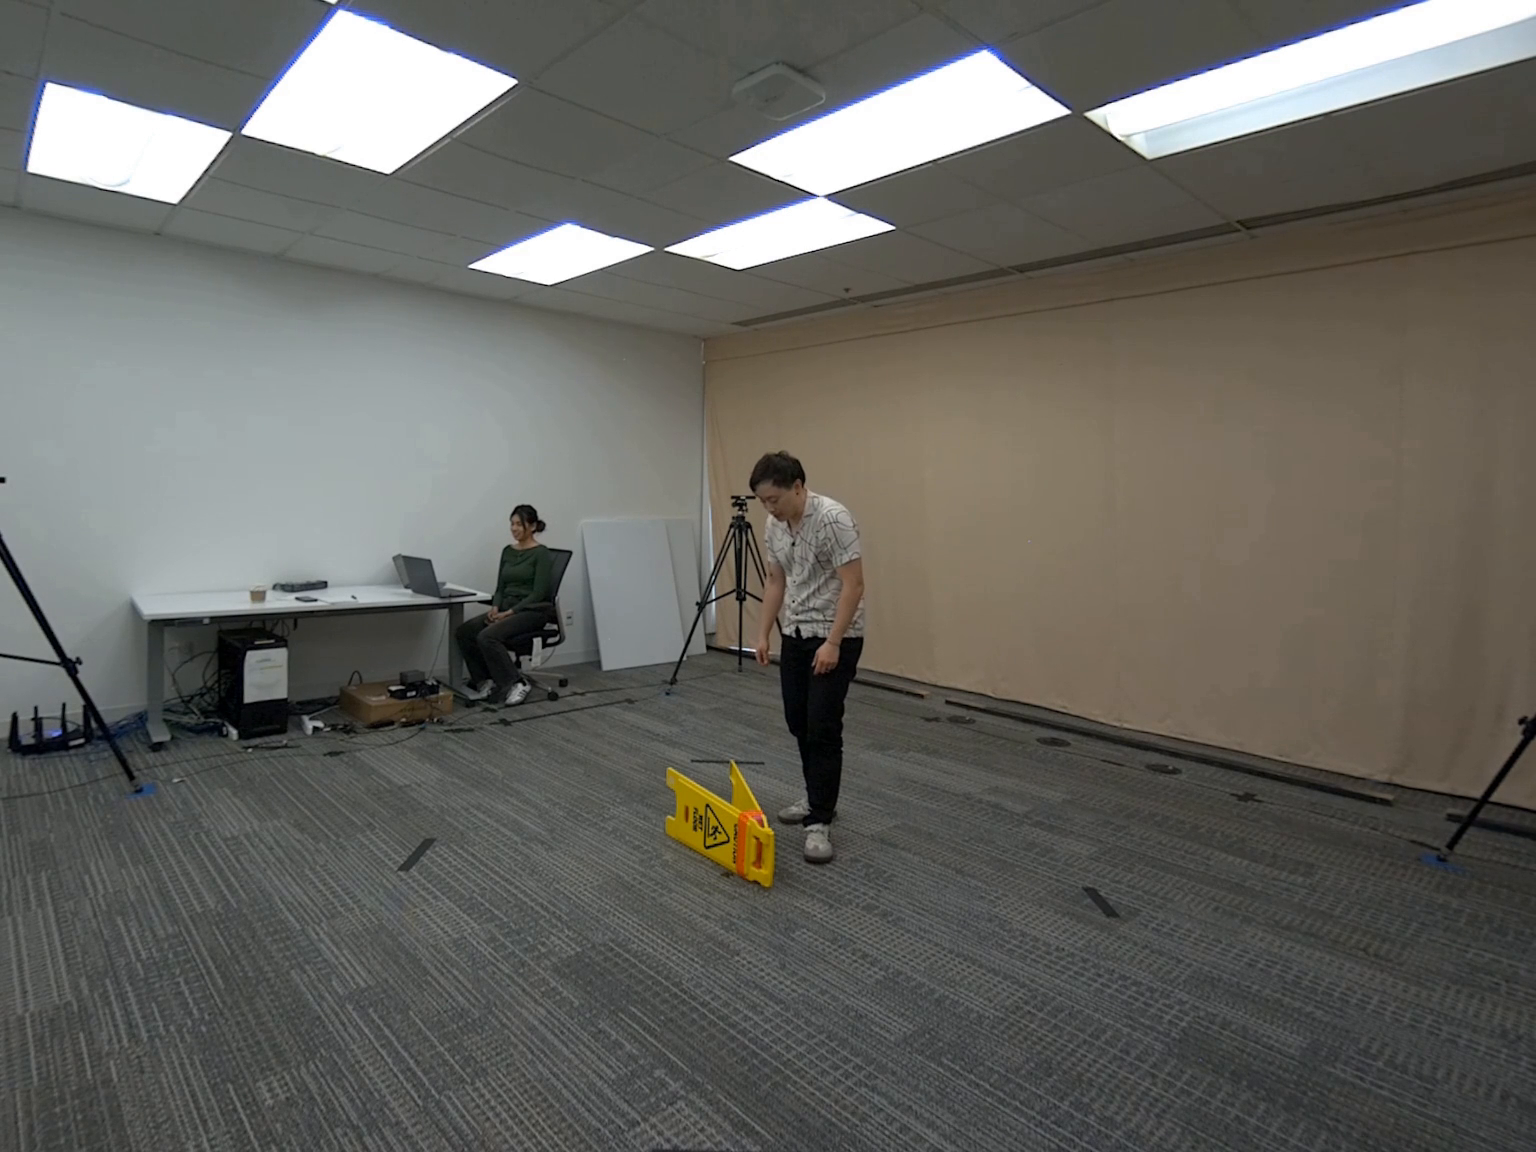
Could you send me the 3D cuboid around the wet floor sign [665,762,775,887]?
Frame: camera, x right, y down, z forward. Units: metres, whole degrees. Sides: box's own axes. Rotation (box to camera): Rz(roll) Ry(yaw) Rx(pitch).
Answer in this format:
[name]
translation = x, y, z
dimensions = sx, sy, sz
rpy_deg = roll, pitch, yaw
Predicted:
[wet floor sign]
translation = -0.143, 0.959, 3.236
dimensions = 0.284, 0.281, 0.661
rpy_deg = -1, 7, -28
